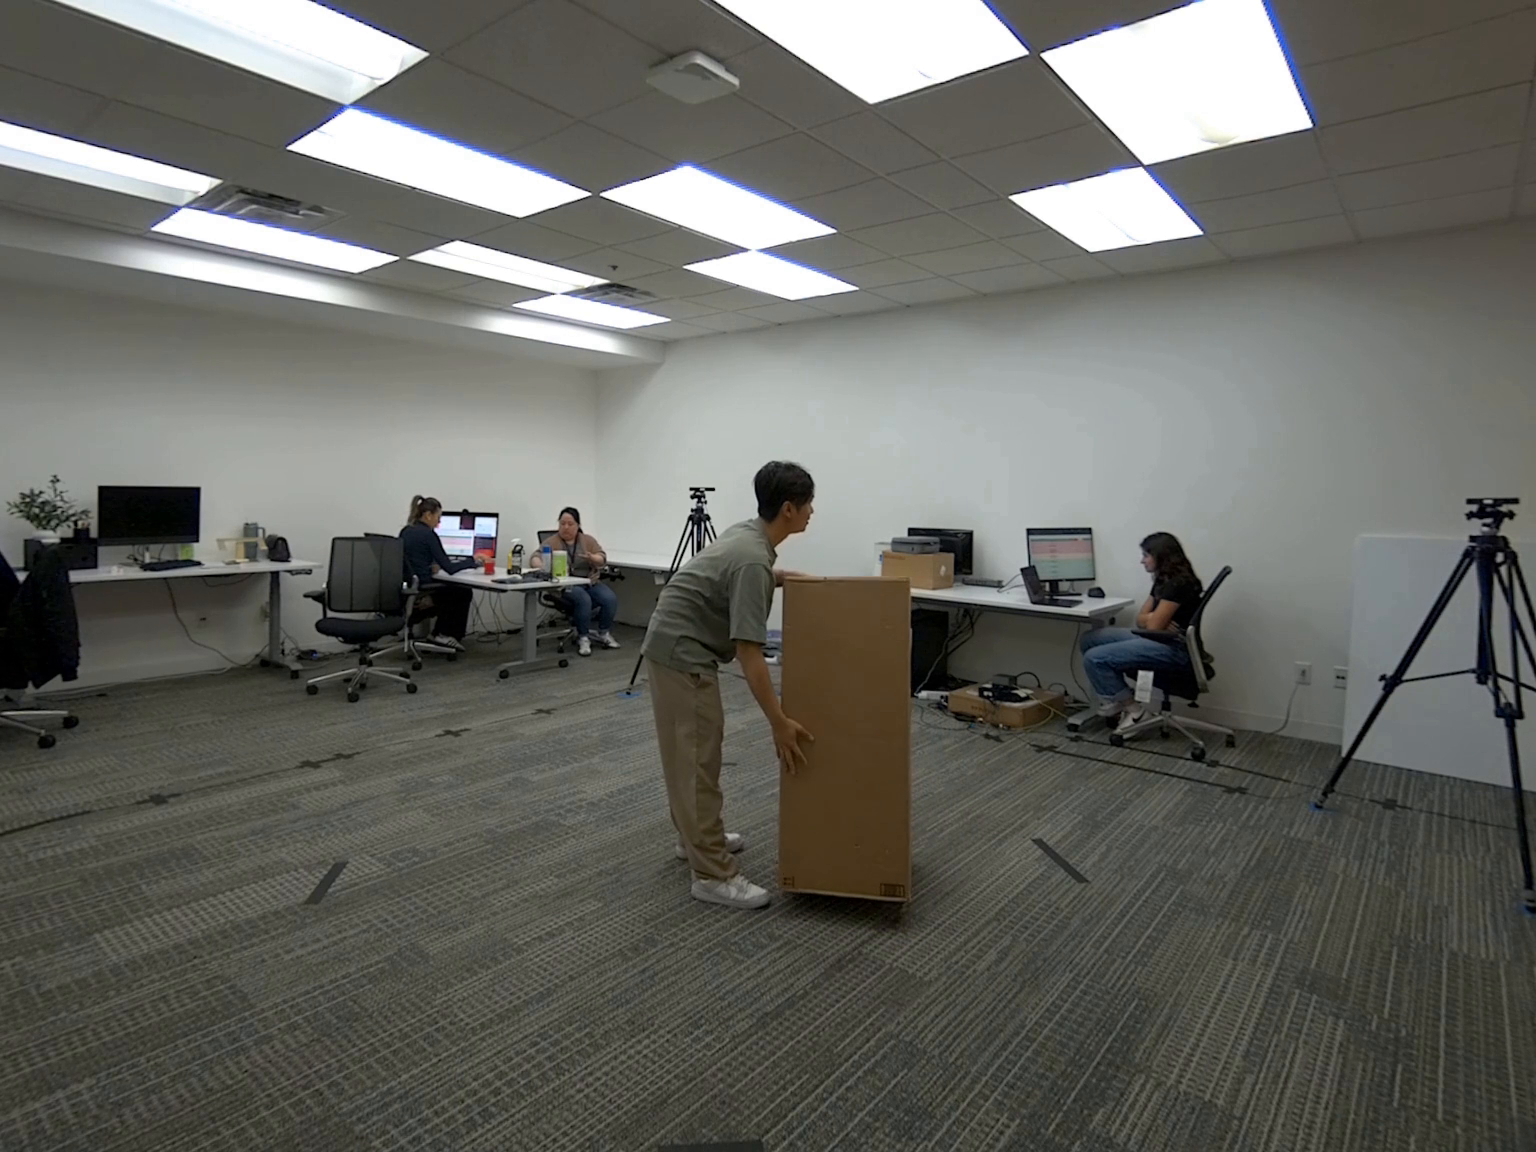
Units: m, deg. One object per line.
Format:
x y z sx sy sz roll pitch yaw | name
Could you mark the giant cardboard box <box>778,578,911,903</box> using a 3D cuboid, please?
0.283 0.532 3.051 0.431 1.032 0.567 0 -6 10 | giant cardboard box
